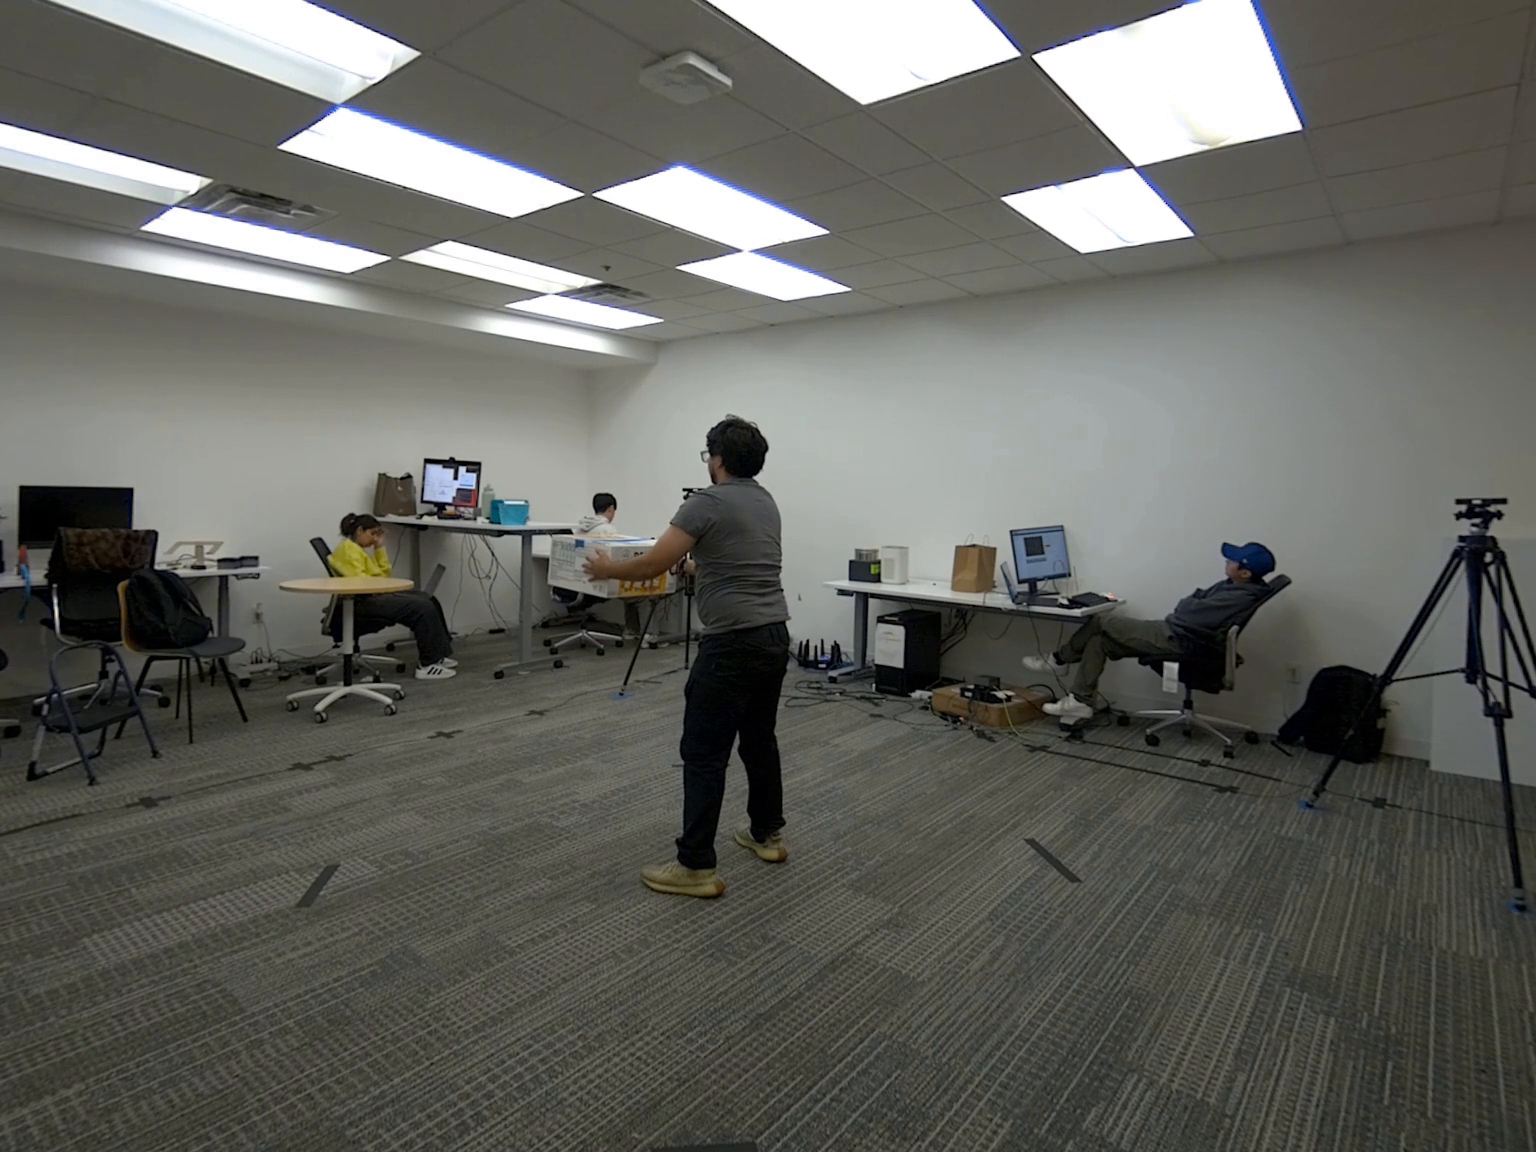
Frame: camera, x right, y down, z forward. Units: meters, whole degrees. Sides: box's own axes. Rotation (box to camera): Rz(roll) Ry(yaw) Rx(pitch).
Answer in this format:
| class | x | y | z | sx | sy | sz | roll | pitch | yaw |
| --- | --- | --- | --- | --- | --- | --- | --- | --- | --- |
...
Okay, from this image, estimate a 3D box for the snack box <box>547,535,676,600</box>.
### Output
| class | x | y | z | sx | sy | sz | roll | pitch | yaw |
| --- | --- | --- | --- | --- | --- | --- | --- | --- | --- |
| snack box | -0.638 | -0.051 | 3.469 | 0.352 | 0.205 | 0.393 | 9 | 7 | 34 |
